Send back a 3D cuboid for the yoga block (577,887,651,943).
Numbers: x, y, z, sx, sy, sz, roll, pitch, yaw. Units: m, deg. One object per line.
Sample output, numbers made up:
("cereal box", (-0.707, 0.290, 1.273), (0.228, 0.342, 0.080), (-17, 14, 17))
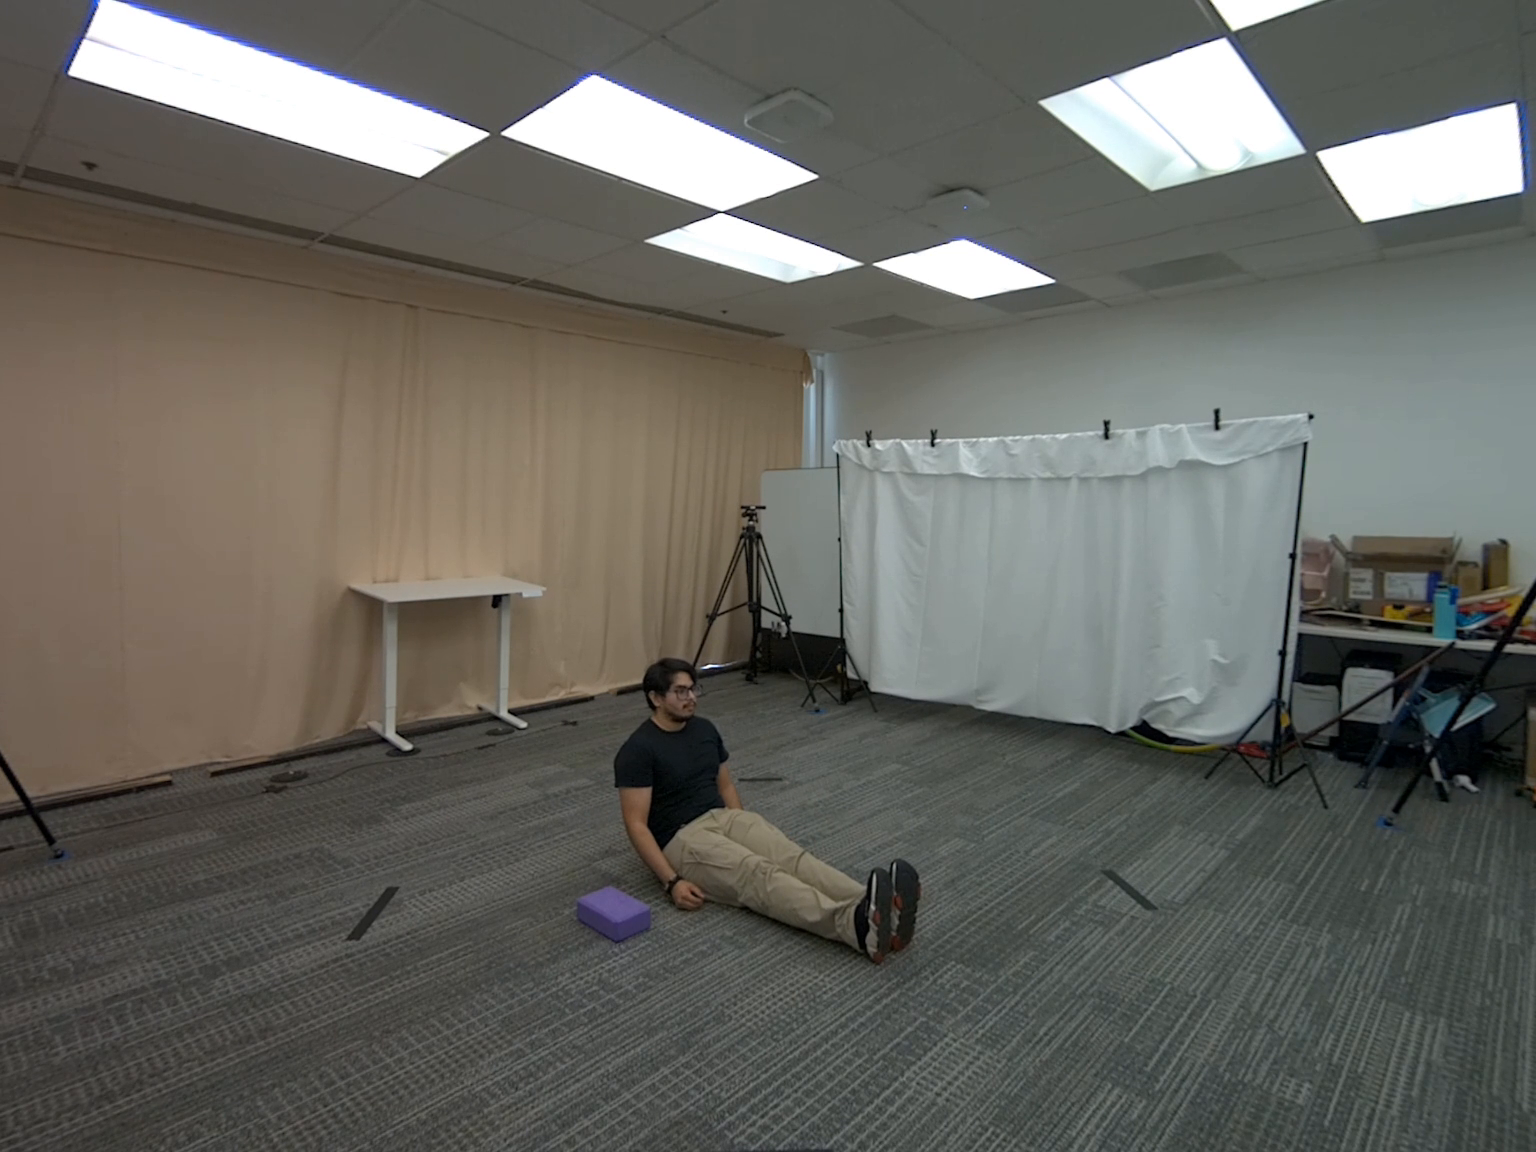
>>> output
("yoga block", (-0.514, 1.119, 2.809), (0.144, 0.076, 0.237), (-6, 8, -45))
